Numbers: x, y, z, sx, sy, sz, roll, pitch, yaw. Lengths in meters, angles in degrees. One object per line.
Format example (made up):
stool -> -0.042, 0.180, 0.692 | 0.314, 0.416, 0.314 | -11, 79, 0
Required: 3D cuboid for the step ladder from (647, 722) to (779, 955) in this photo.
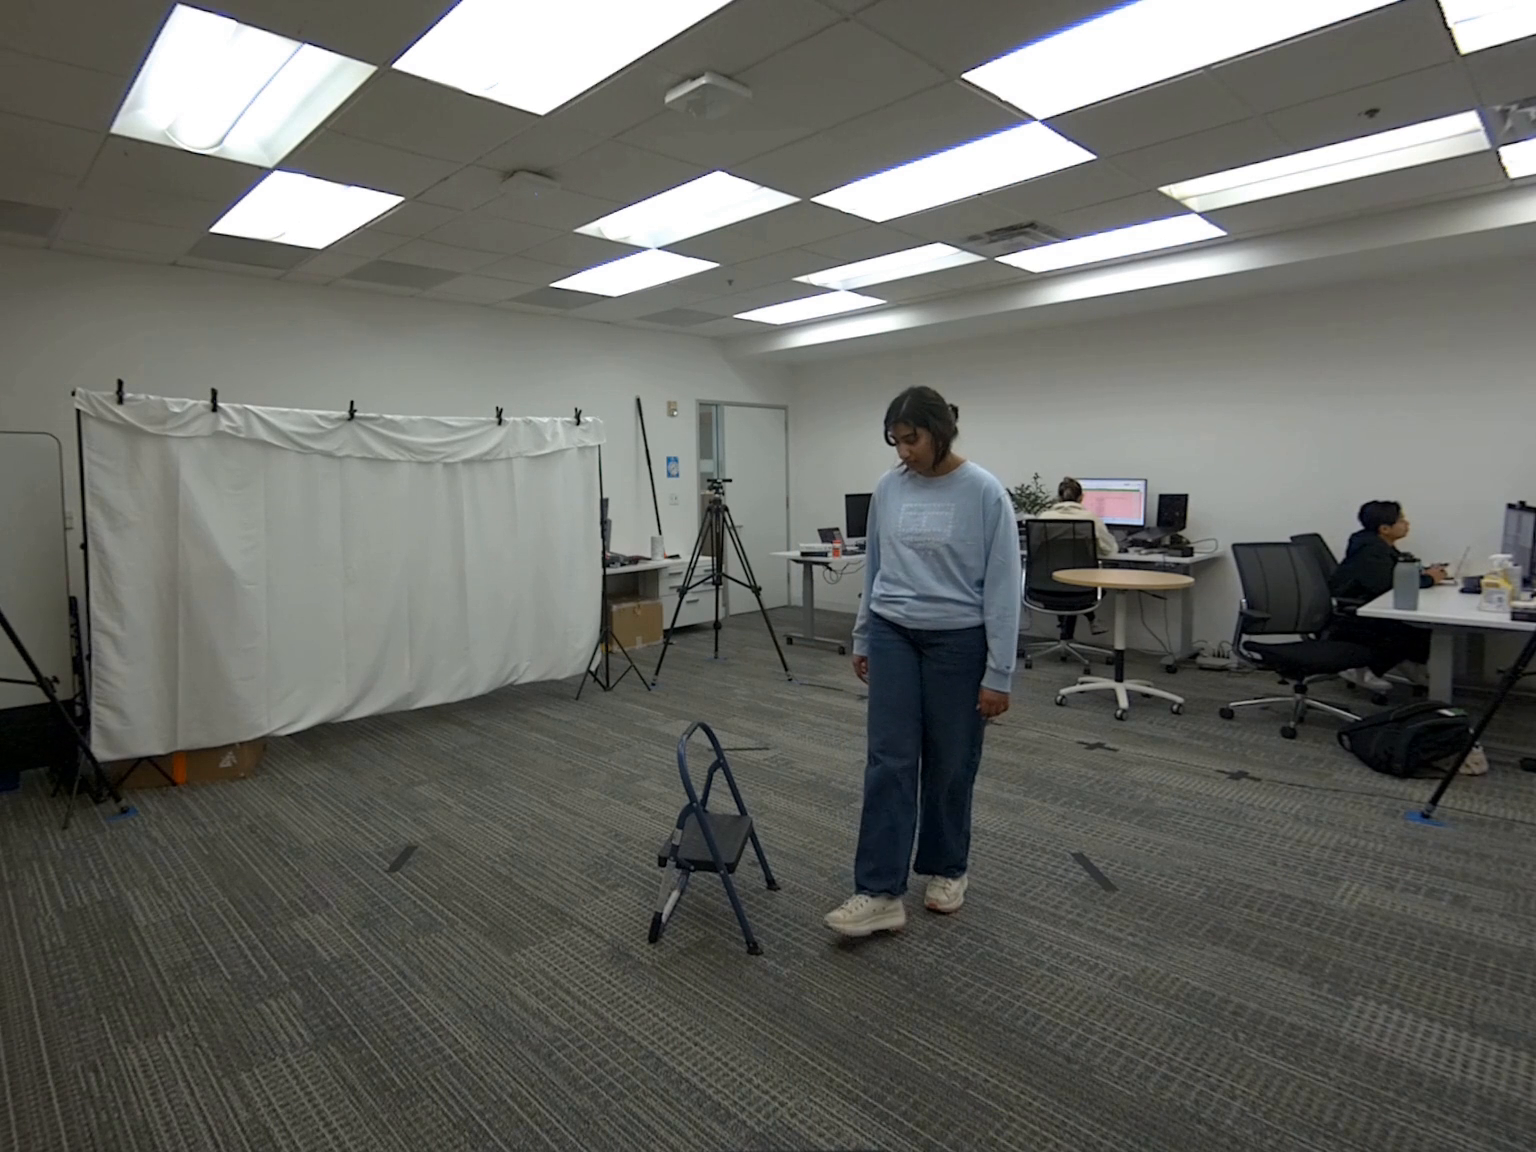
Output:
step ladder -> -0.165, 0.791, 2.729 | 0.353, 0.604, 0.428 | 0, 5, 10
